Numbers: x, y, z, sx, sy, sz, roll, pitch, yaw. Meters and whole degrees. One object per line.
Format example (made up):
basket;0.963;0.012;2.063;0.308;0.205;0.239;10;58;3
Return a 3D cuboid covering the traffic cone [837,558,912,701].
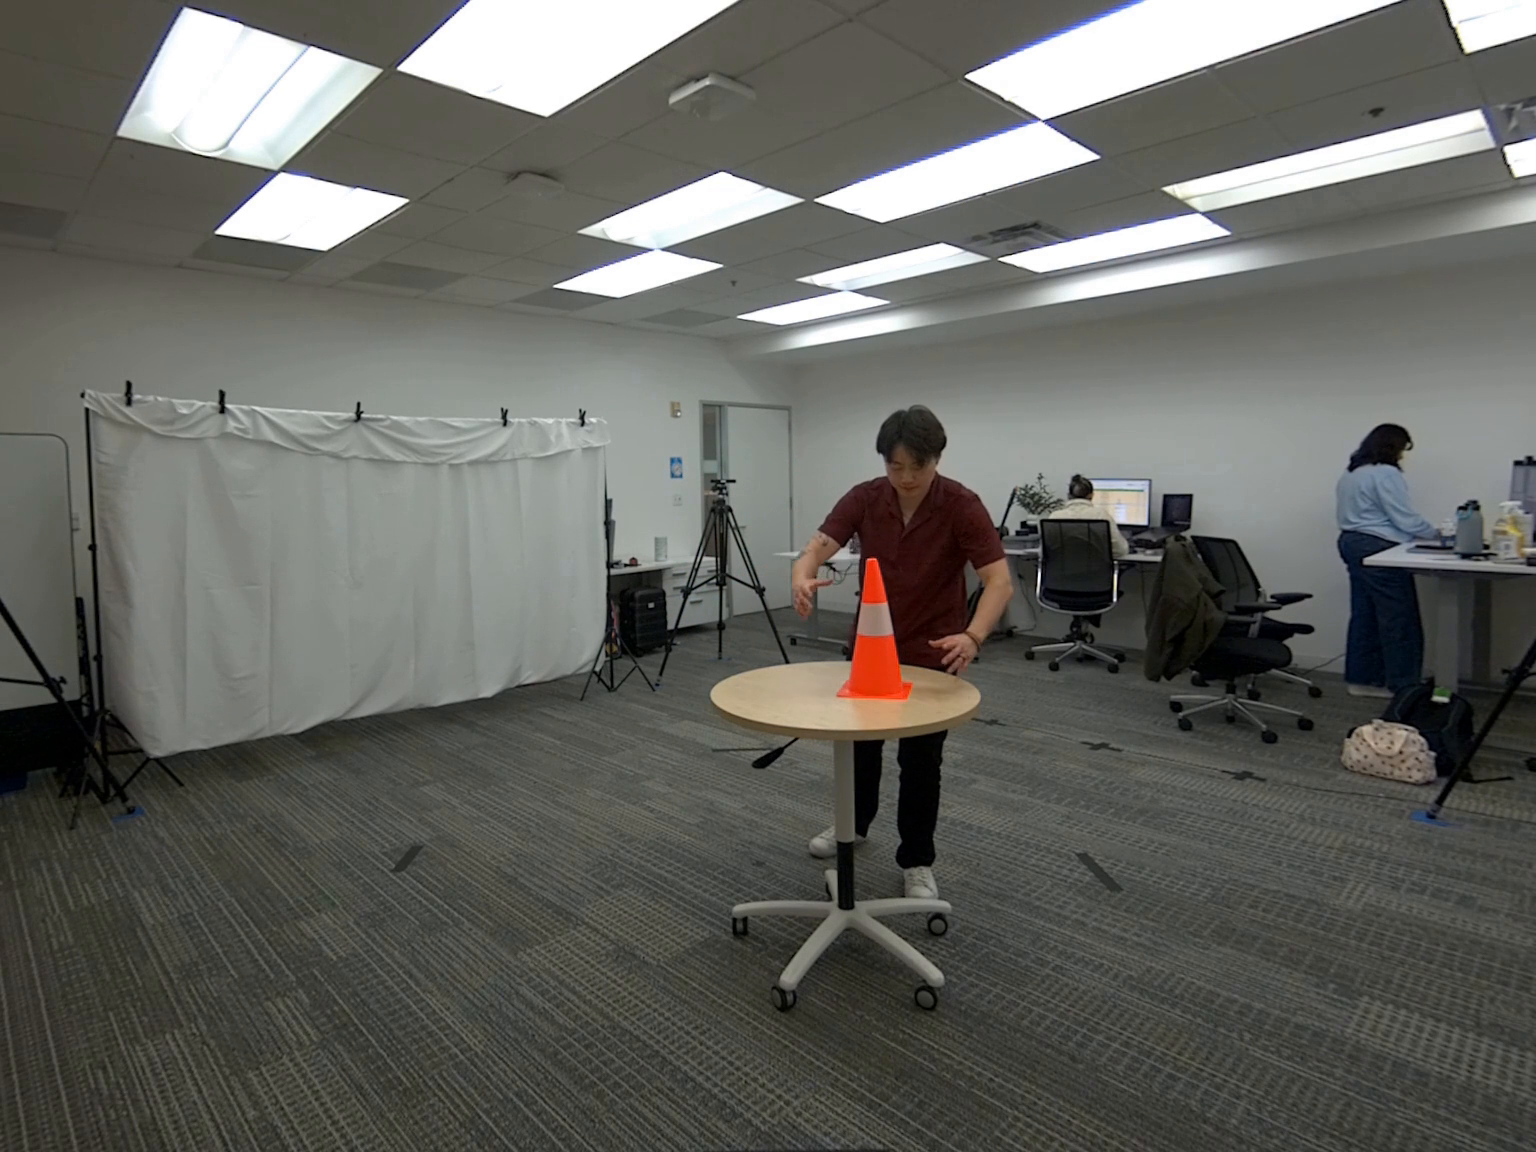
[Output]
traffic cone;0.314;0.145;2.442;0.205;0.382;0.204;-3;6;9
